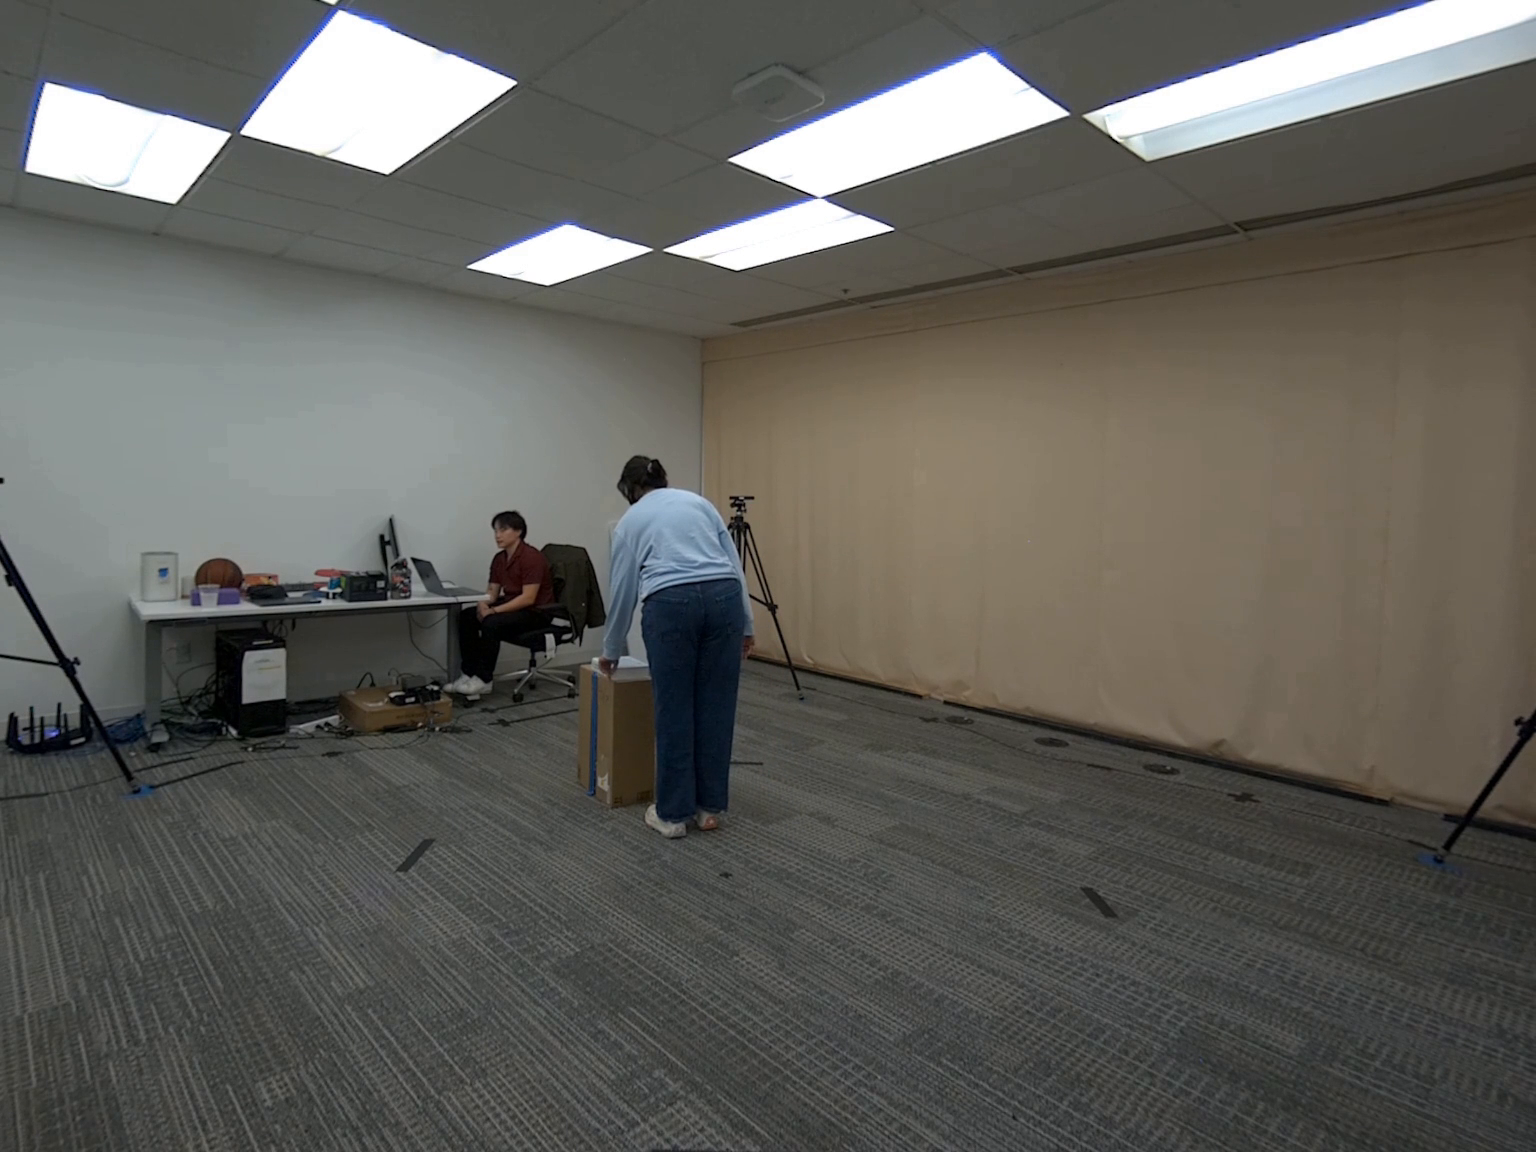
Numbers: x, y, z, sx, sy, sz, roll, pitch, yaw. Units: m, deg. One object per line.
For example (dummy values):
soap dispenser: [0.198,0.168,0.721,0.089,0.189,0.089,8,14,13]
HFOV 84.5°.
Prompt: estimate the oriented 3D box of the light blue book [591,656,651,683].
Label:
light blue book: [-0.683,0.428,3.914,0.187,0.059,0.267,0,6,-31]
